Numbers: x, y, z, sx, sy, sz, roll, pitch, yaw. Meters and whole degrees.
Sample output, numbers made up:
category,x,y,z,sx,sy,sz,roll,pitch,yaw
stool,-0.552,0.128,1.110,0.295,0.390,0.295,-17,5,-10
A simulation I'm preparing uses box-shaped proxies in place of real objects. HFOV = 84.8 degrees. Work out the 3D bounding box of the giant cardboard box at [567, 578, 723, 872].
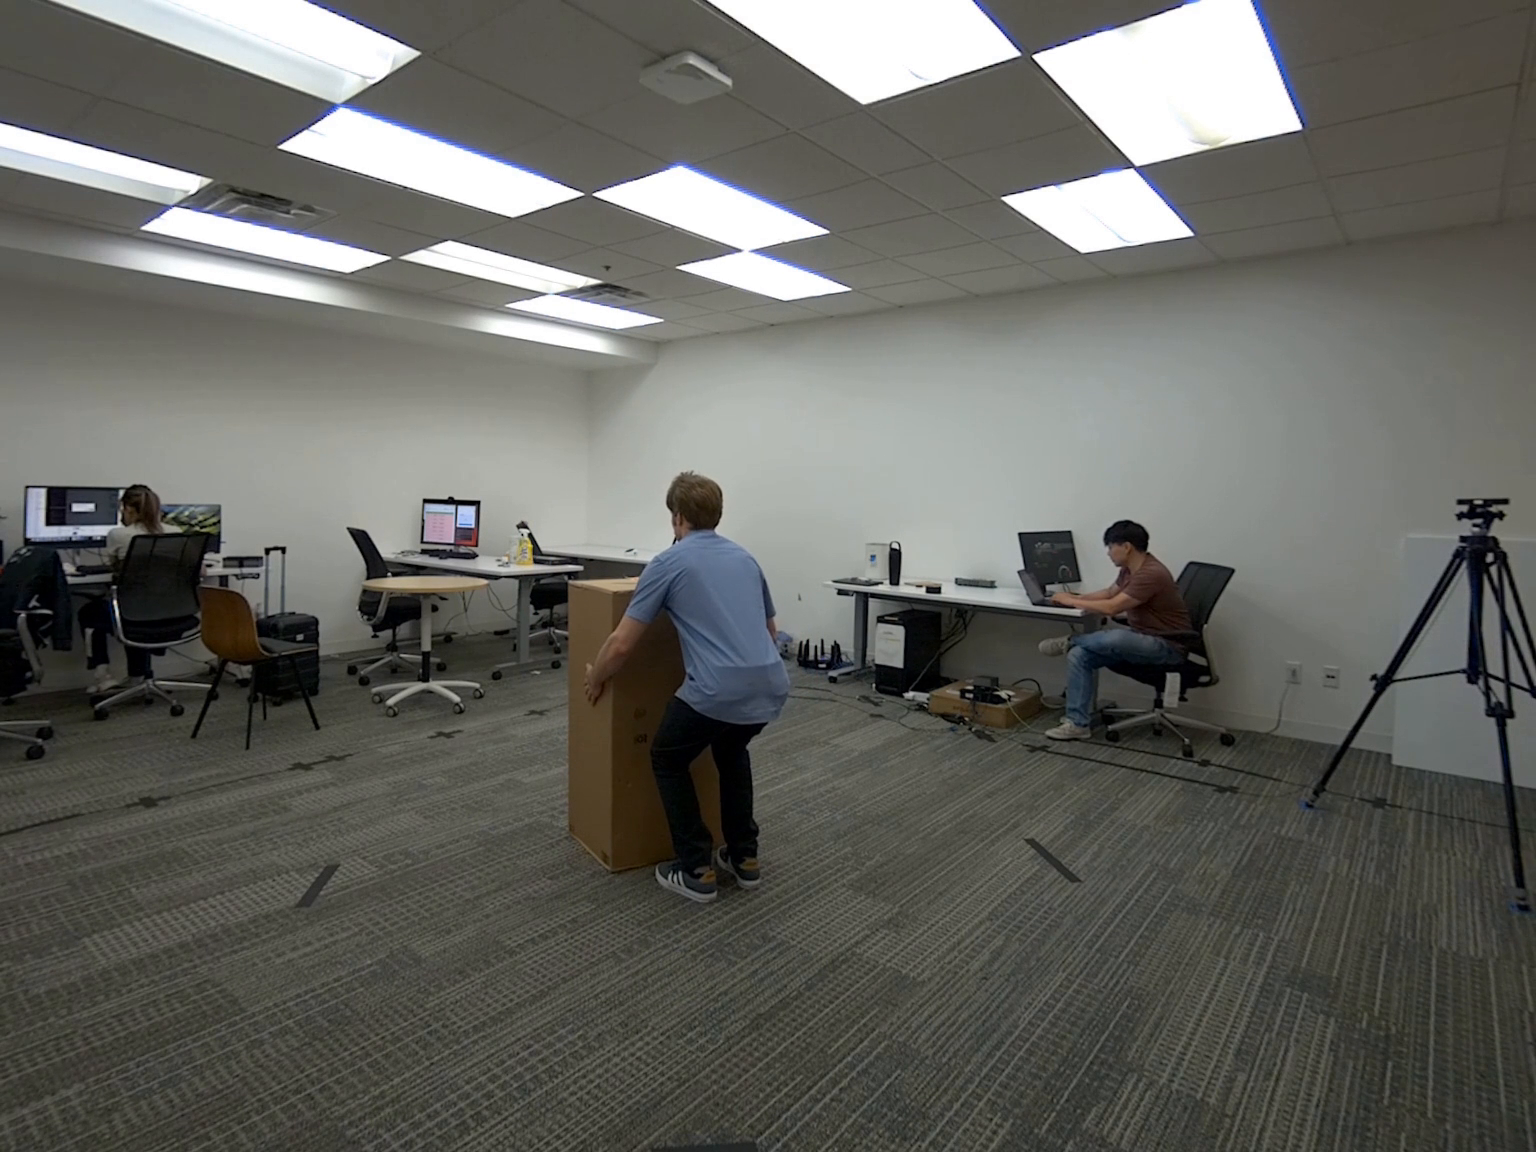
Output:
category,x,y,z,sx,sy,sz,roll,pitch,yaw
giant cardboard box,-0.460,0.529,3.360,0.561,1.023,0.439,-1,3,-33
